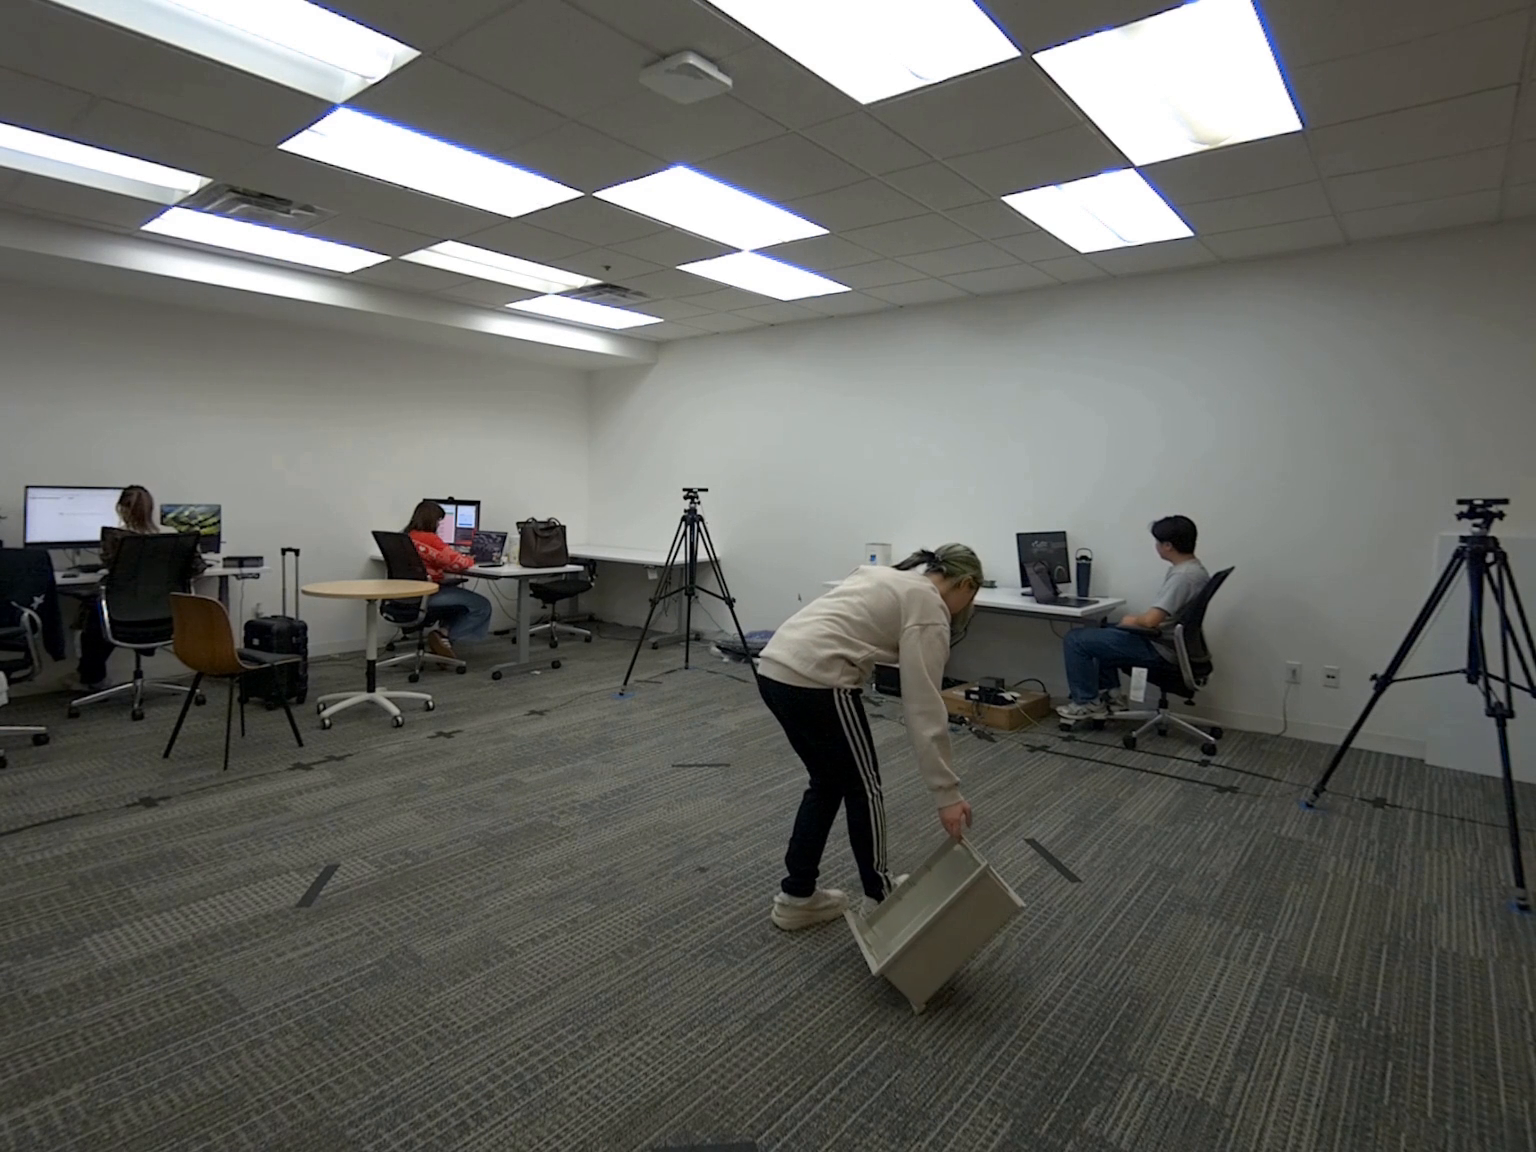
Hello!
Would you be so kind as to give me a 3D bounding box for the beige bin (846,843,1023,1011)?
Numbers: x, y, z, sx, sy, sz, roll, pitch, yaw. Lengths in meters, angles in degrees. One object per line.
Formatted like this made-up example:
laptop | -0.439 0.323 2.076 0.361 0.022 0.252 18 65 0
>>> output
beige bin | 0.460 0.947 2.431 0.422 0.186 0.383 -43 11 -3
